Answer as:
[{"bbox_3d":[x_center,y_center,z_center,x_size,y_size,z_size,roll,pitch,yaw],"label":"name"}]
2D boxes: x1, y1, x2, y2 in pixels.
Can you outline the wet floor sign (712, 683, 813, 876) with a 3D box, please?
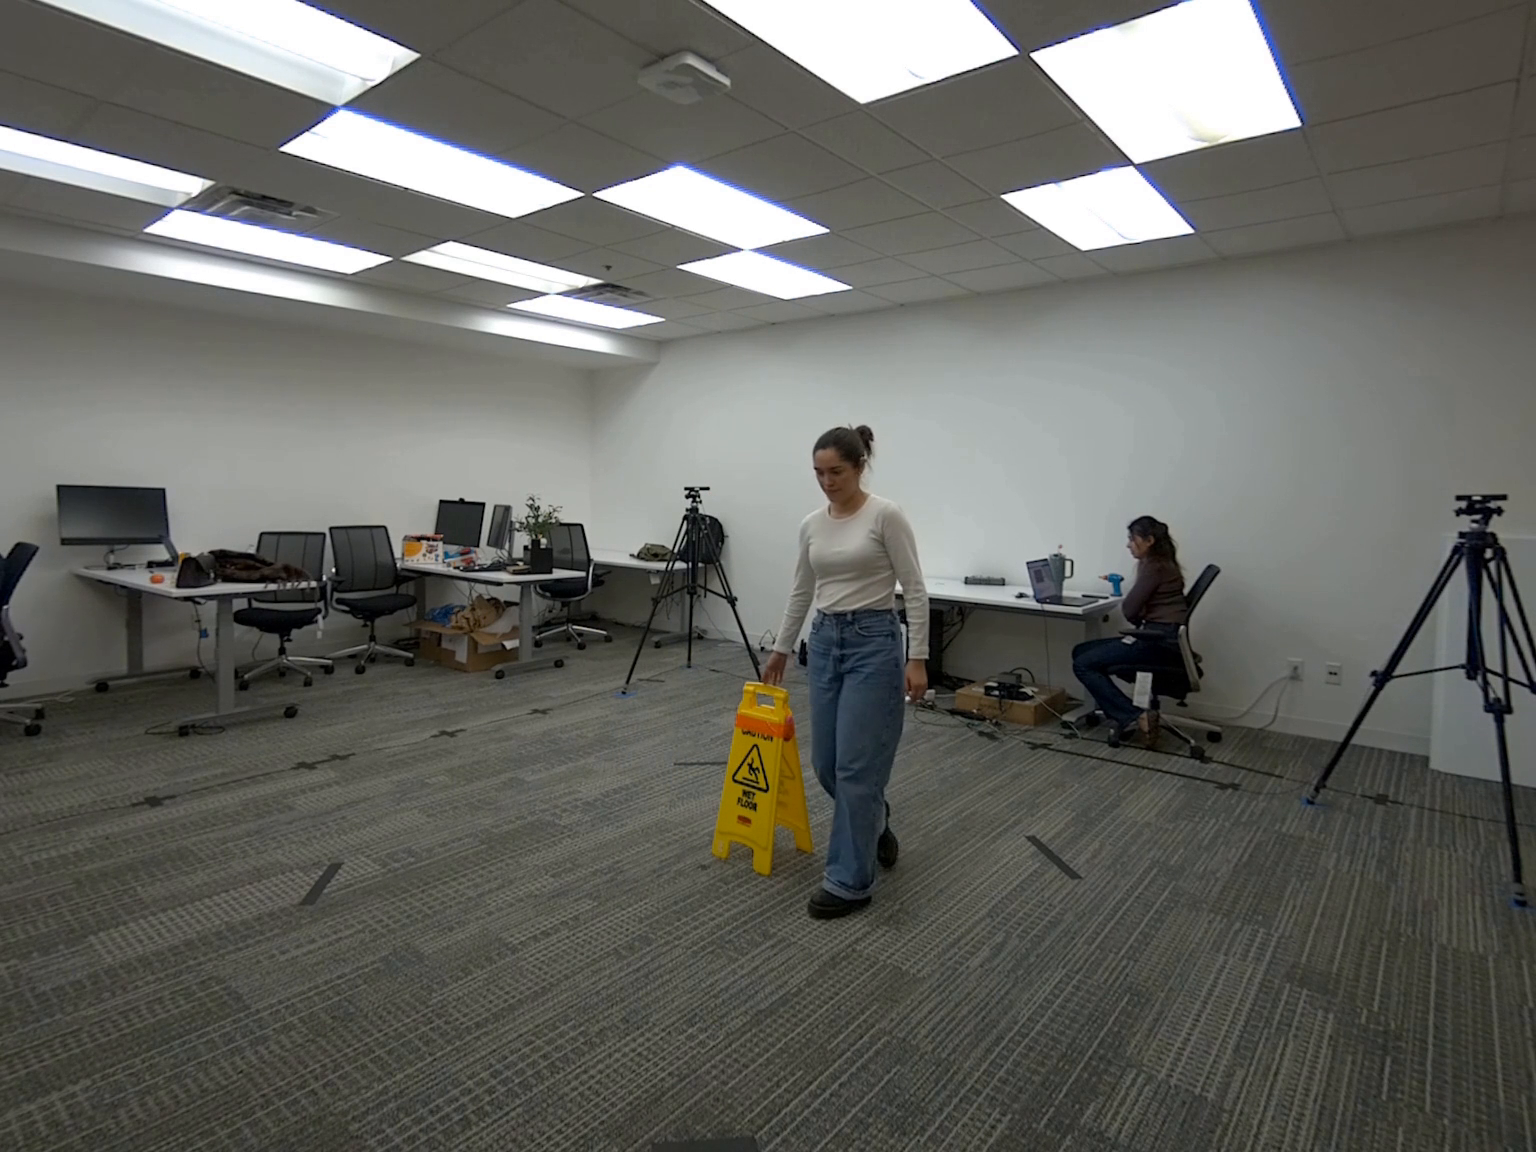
[{"bbox_3d":[-0.022,0.730,3.236,0.292,0.644,0.281,4,4,39],"label":"wet floor sign"}]
